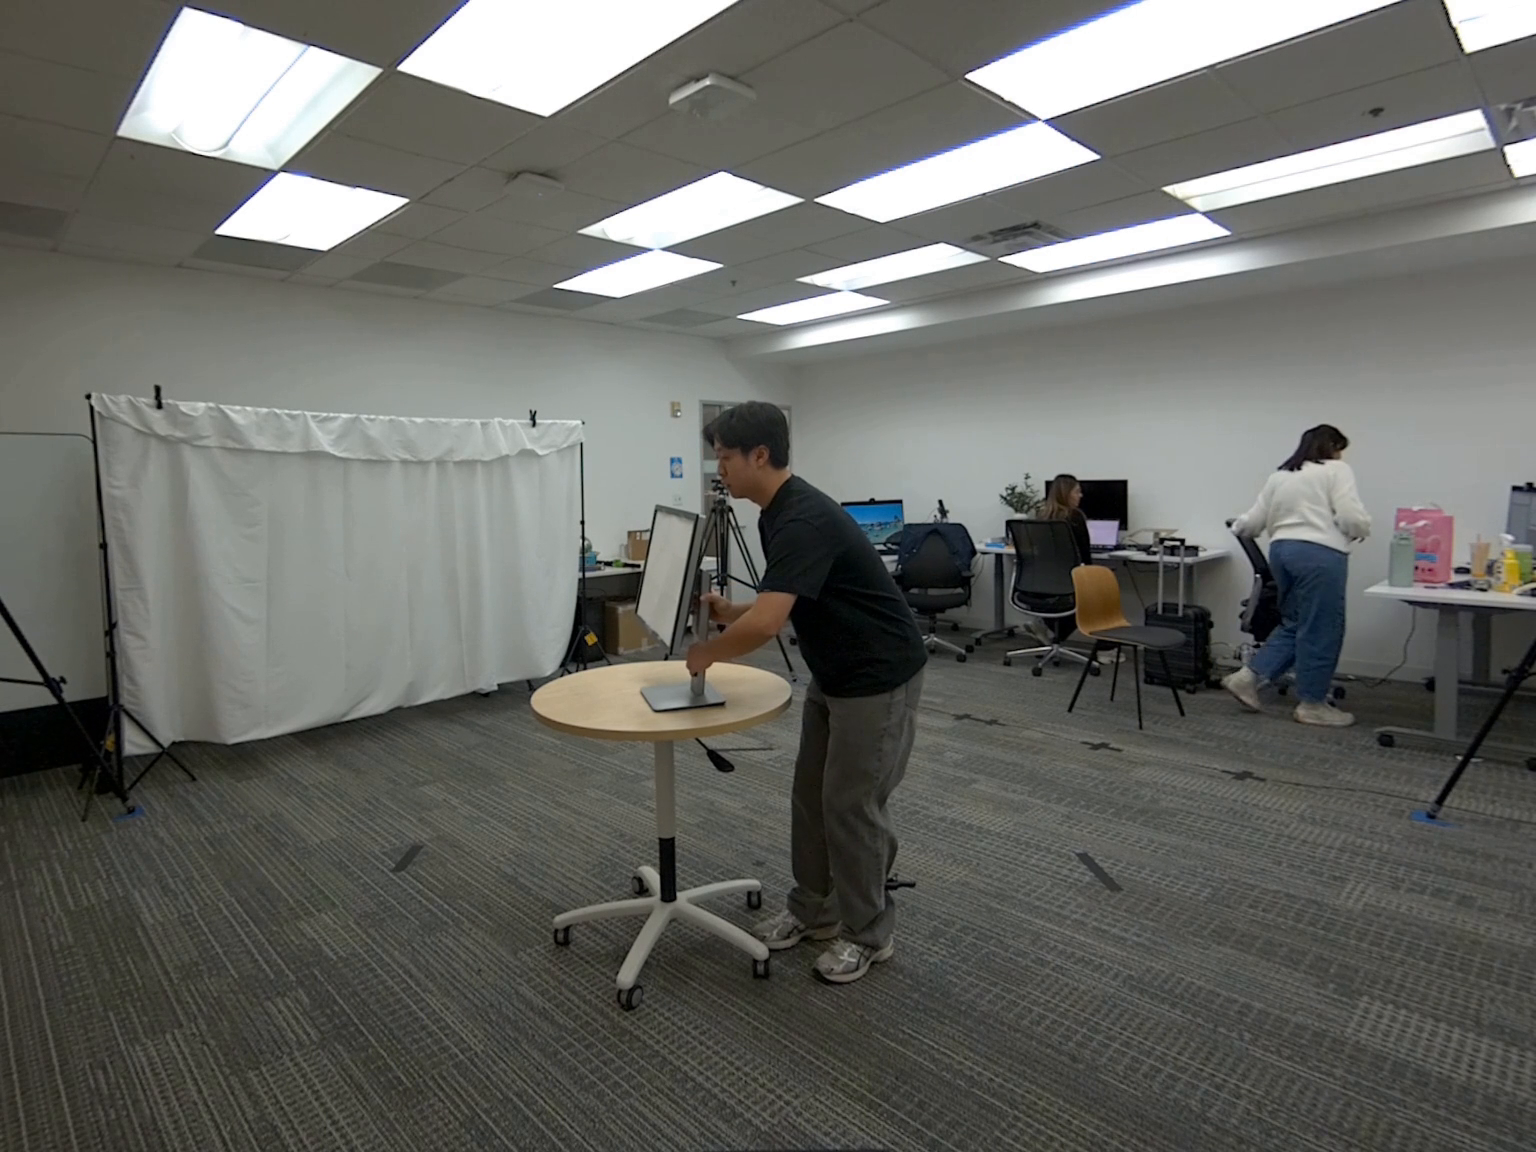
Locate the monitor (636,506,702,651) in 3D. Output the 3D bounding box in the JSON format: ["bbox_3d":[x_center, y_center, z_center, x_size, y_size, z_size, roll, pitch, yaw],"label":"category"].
[{"bbox_3d":[-0.254,0.090,2.414,0.219,0.563,0.571,-5,6,-14],"label":"monitor"}]
